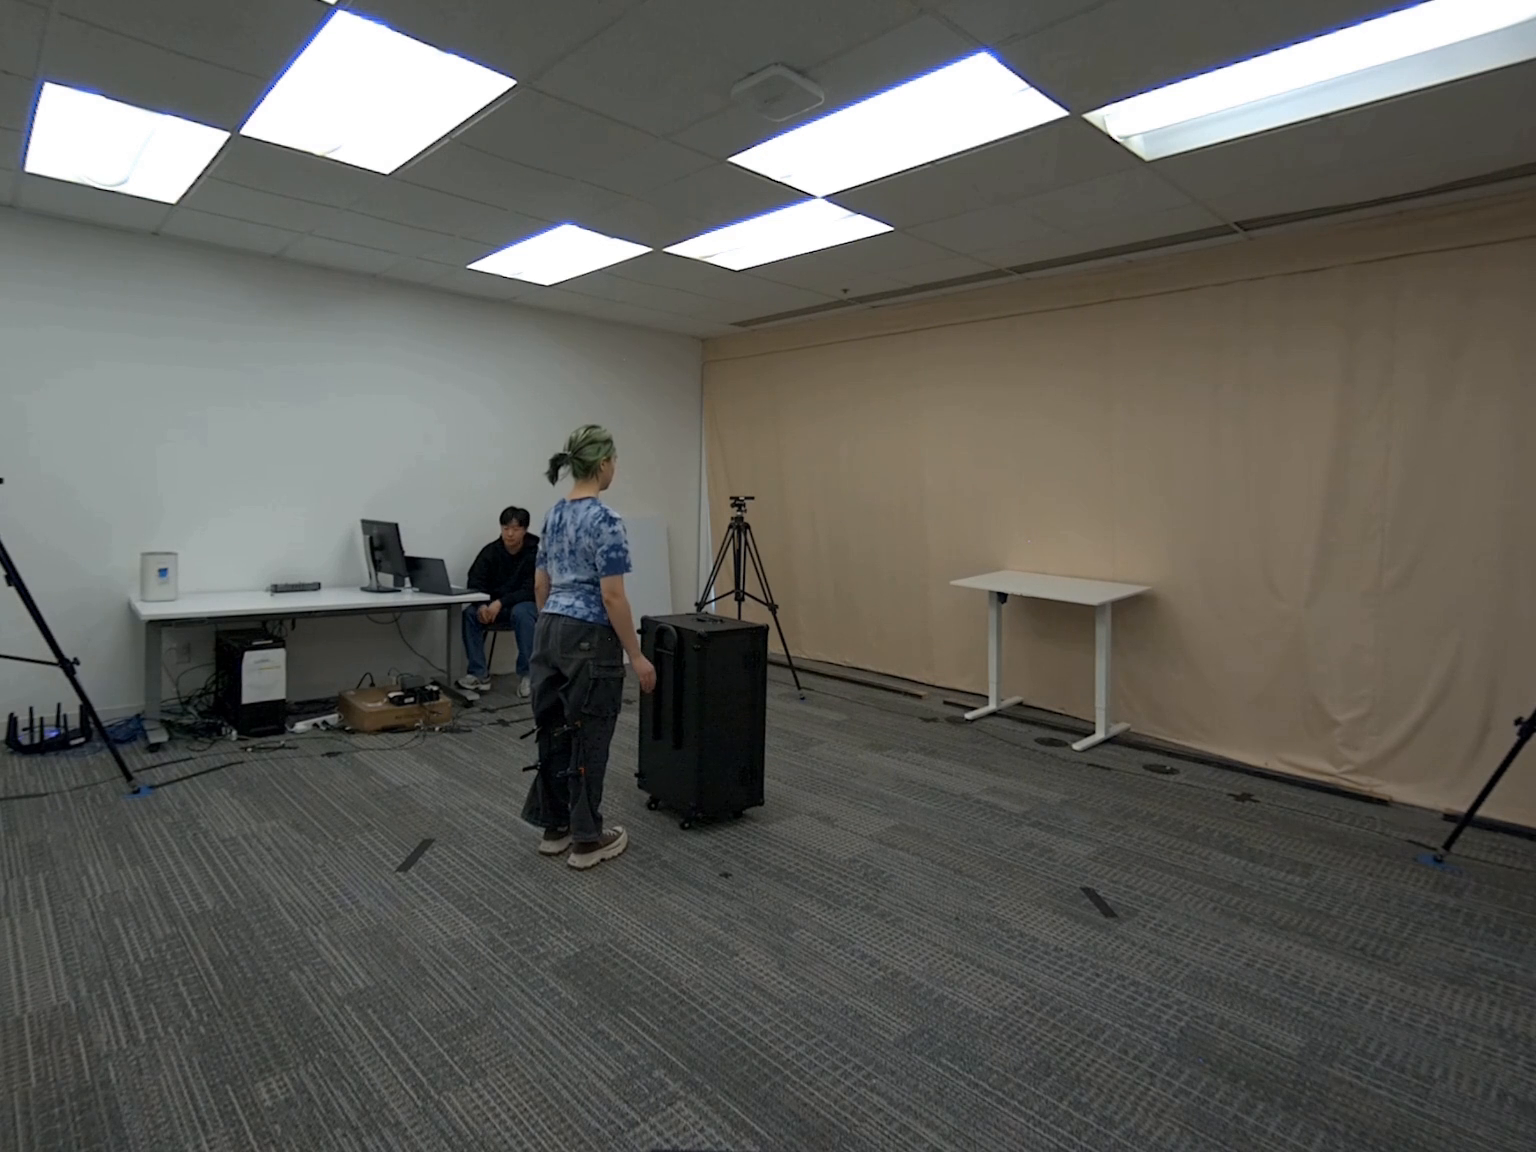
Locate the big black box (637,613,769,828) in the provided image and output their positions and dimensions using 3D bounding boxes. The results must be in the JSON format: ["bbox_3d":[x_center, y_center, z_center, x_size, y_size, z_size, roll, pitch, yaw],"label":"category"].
[{"bbox_3d":[-0.308,0.622,3.697,0.387,0.859,0.534,-1,4,-38],"label":"big black box"}]
